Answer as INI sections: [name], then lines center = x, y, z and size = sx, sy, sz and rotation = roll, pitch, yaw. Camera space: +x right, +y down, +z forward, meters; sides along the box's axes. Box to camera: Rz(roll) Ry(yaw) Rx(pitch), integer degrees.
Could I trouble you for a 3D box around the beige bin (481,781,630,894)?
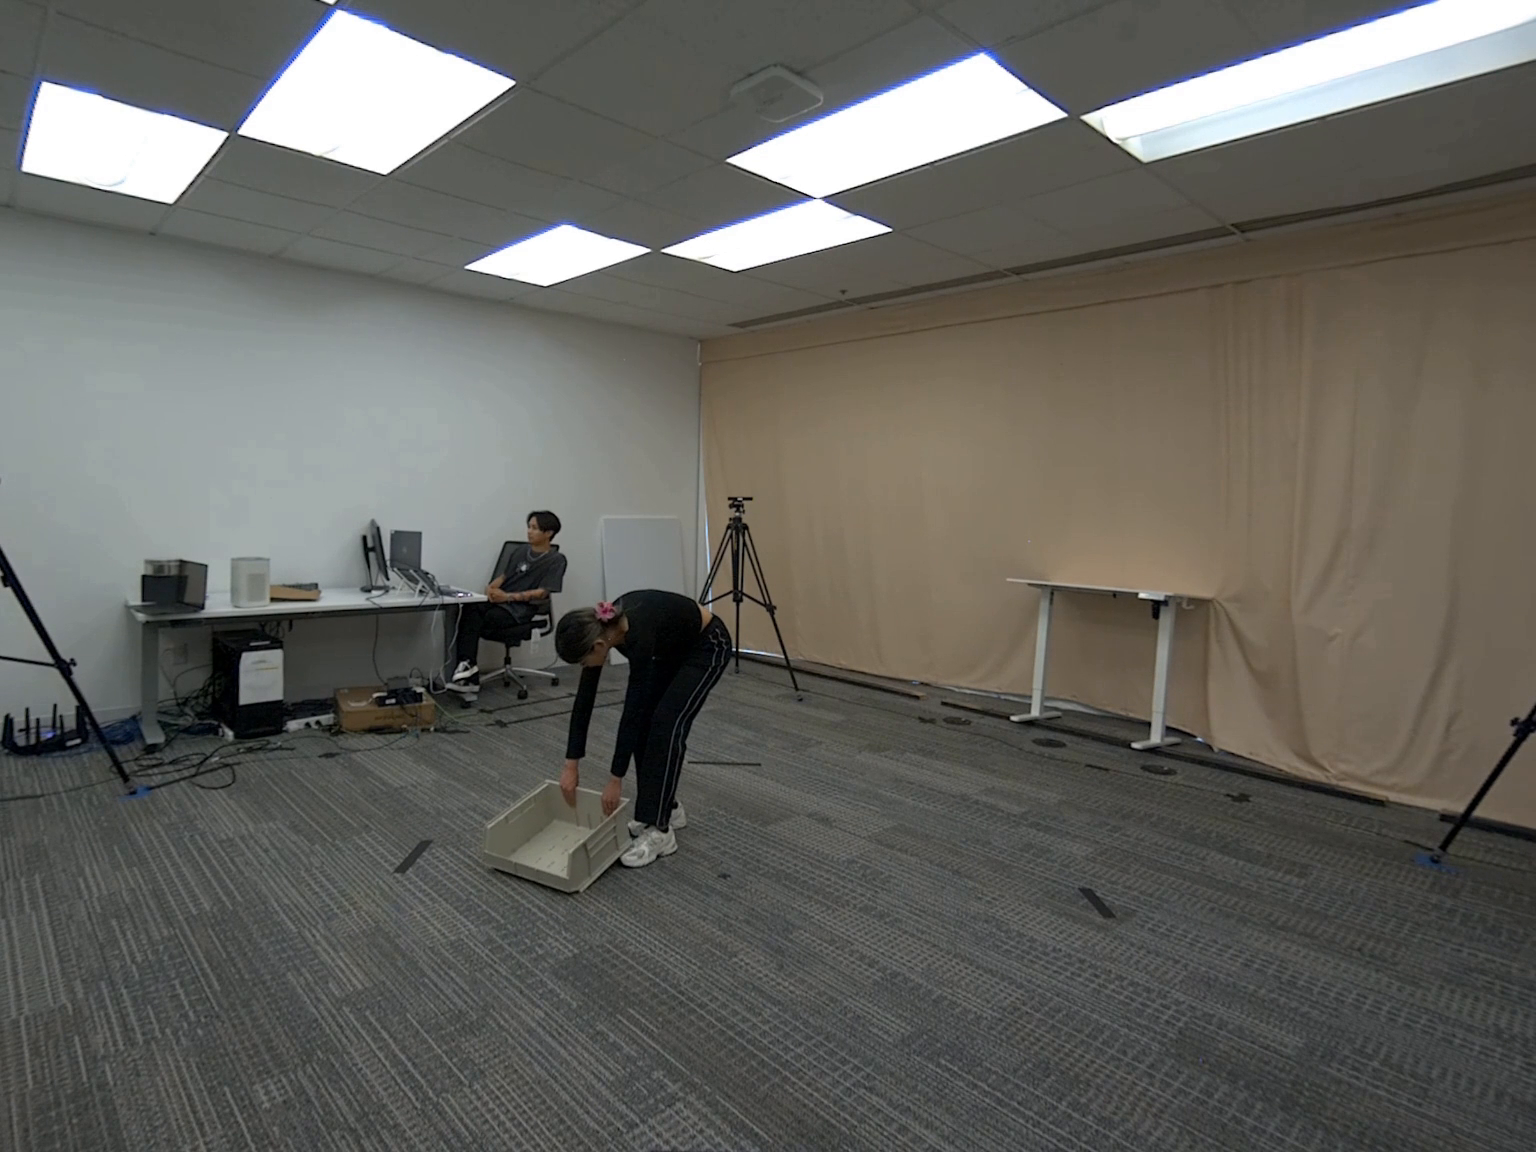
[beige bin]
center = -0.791, 0.976, 3.132
size = 0.431, 0.187, 0.374
rotation = 2, 16, 29
